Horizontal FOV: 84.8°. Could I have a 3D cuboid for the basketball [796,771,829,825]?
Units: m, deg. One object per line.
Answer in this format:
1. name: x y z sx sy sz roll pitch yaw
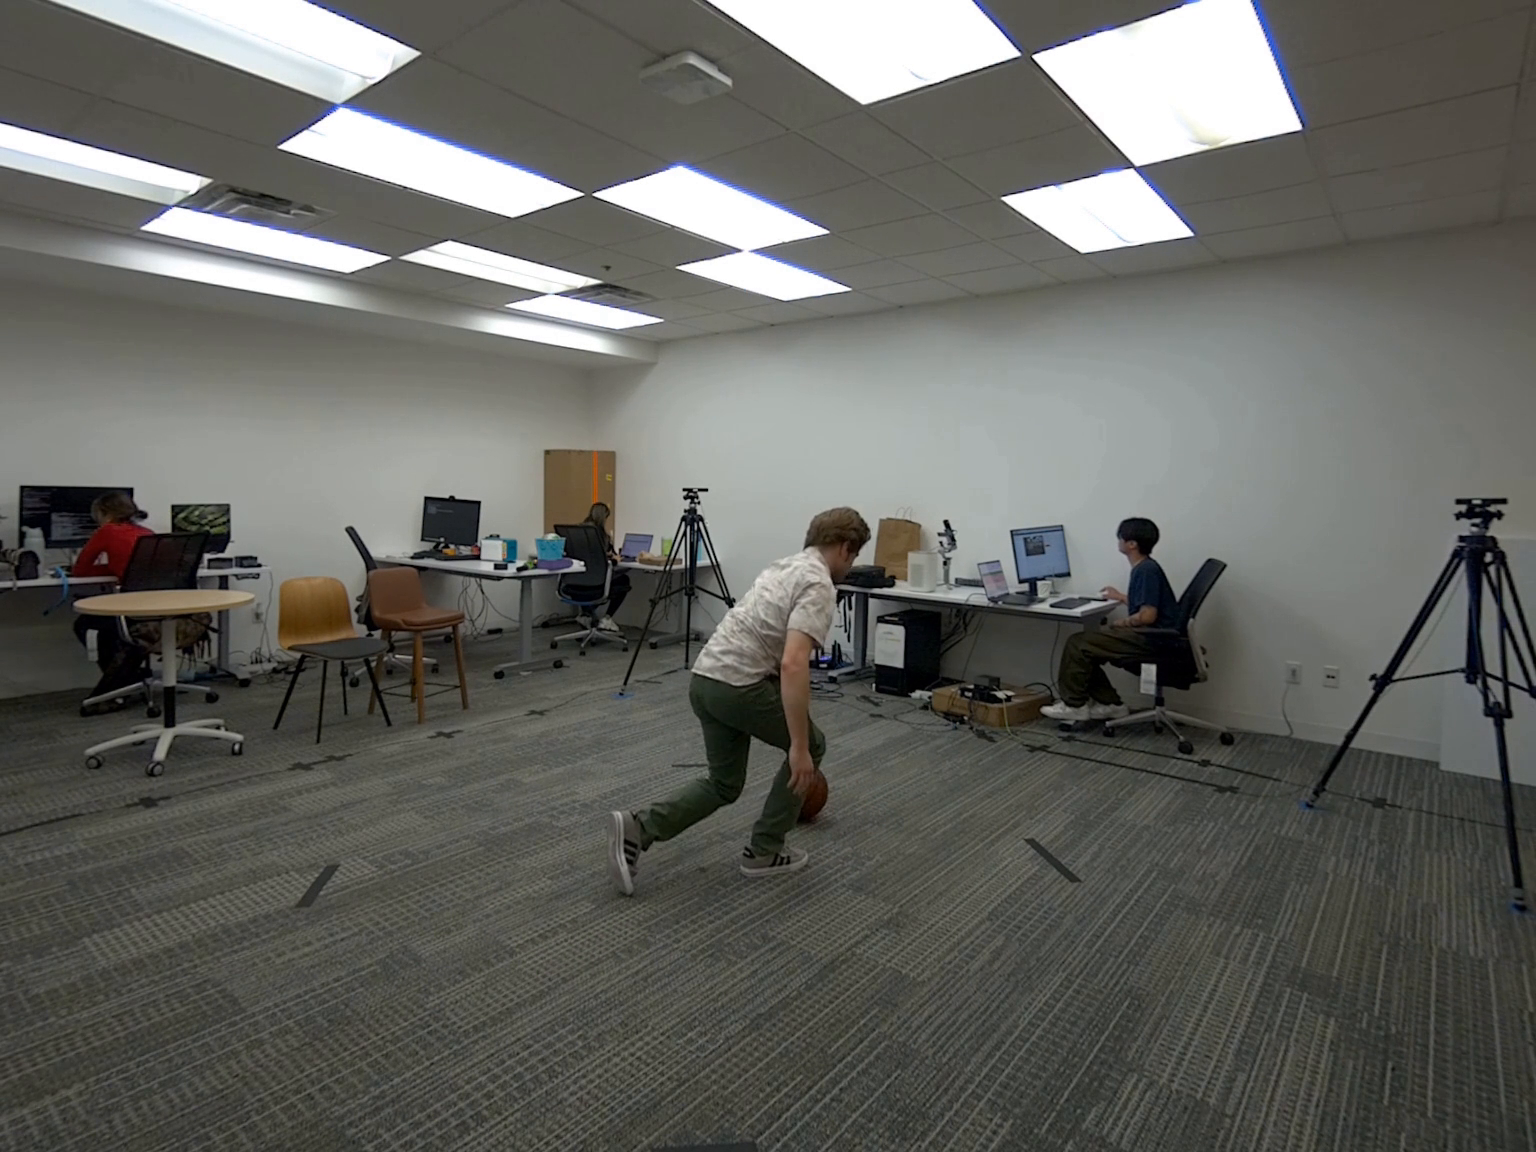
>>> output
1. basketball: 0.129 0.903 3.625 0.235 0.235 0.237 1 4 -2
